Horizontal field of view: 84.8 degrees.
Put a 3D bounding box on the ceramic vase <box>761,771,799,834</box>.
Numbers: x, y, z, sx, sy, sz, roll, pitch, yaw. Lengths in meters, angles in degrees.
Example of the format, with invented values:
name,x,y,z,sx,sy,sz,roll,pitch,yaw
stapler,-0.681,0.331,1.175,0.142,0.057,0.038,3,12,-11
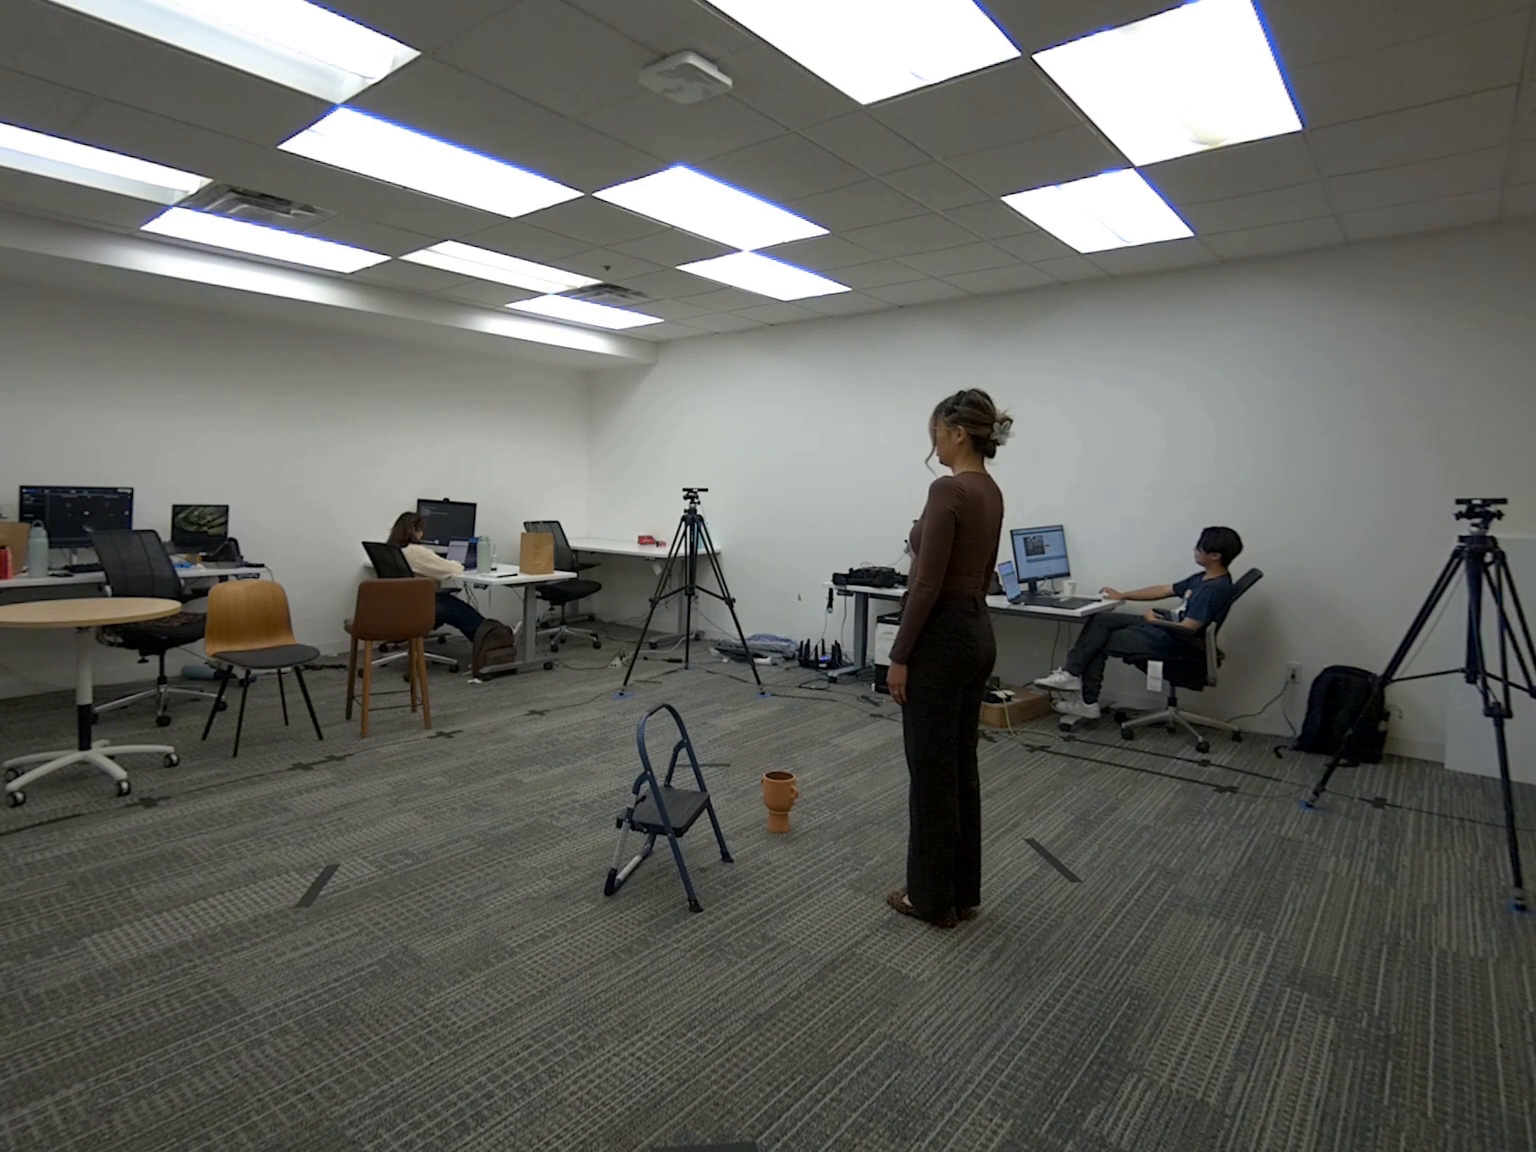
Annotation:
name,x,y,z,sx,sy,sz,roll,pitch,yaw
ceramic vase,0.037,0.924,3.498,0.133,0.219,0.161,1,4,-8
